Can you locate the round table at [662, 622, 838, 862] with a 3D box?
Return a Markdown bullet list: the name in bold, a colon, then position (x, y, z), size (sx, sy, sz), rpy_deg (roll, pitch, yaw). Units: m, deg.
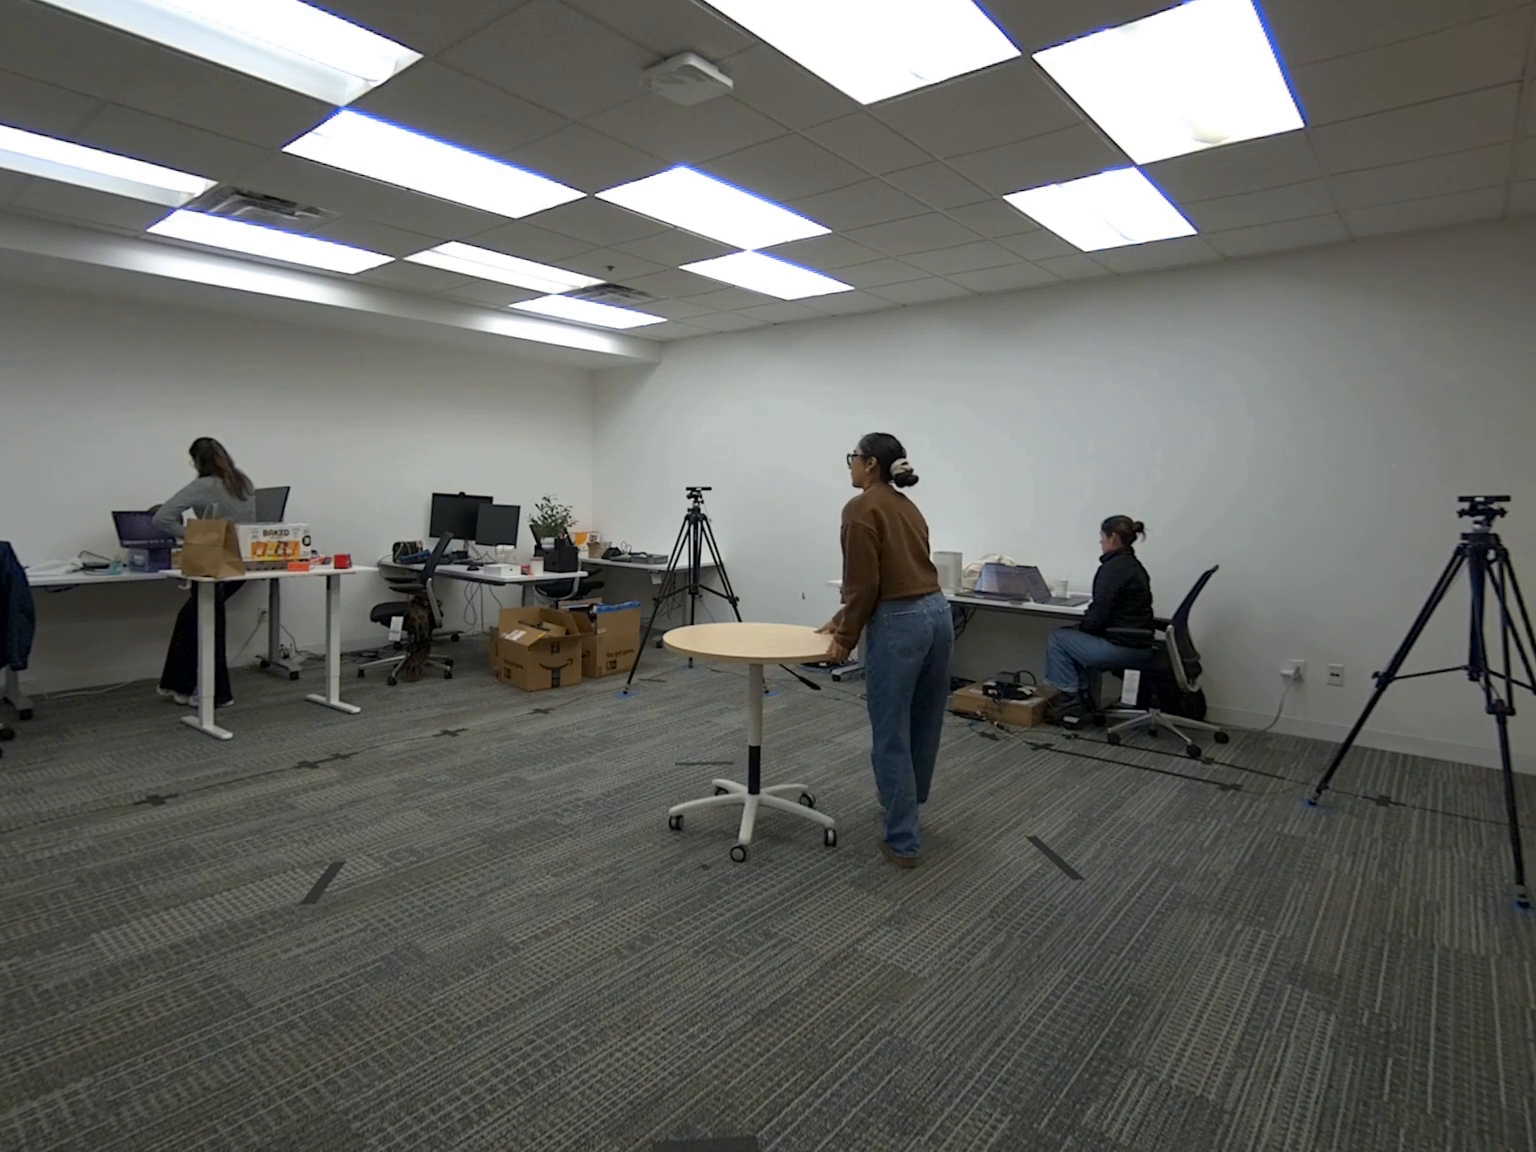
- **round table**: position (-0.051, 0.637, 3.474), size (0.784, 0.784, 0.789), rpy_deg (1, 4, -2)
